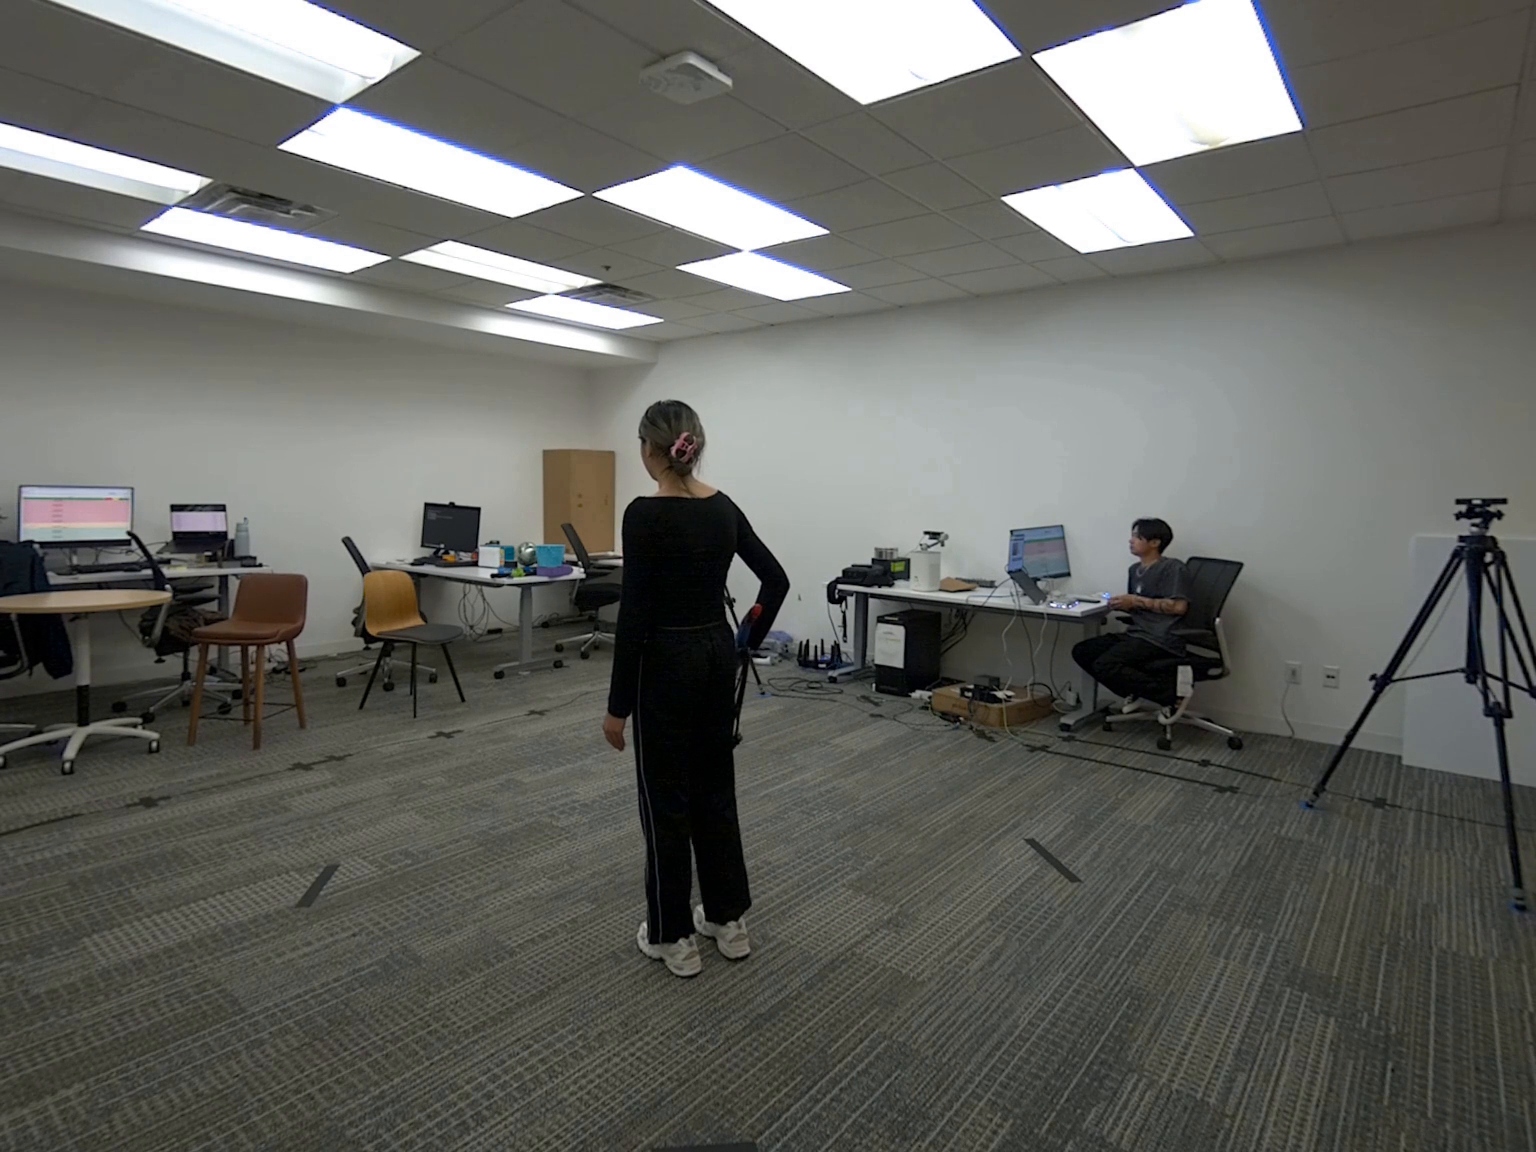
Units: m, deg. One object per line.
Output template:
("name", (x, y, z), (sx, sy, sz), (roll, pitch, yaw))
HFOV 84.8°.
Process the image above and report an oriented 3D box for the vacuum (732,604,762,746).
("vacuum", (-0.179, 0.503, 2.812), (0.247, 1.031, 0.149), (5, 36, -19))
